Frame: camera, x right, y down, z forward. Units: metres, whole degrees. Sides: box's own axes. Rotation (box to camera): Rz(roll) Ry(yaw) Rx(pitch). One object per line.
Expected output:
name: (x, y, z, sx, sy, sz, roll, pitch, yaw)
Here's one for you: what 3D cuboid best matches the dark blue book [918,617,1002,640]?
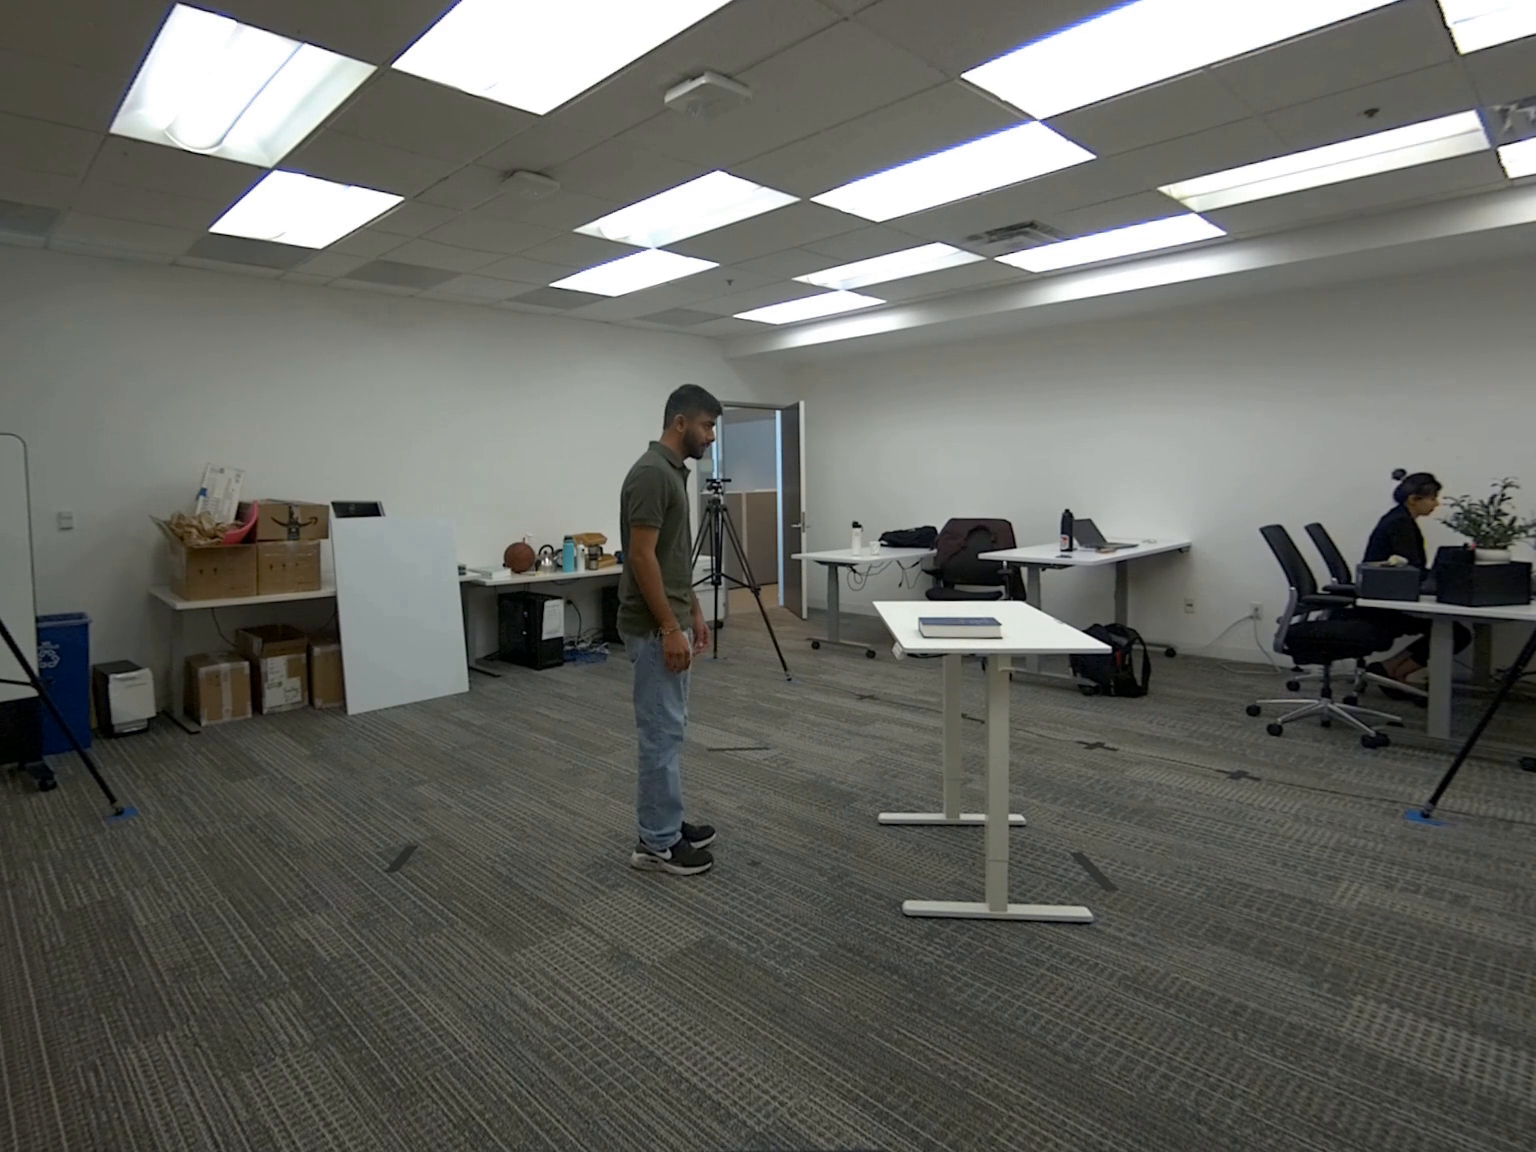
dark blue book: (0.622, 0.166, 2.765, 0.247, 0.045, 0.163, 0, 6, 8)
